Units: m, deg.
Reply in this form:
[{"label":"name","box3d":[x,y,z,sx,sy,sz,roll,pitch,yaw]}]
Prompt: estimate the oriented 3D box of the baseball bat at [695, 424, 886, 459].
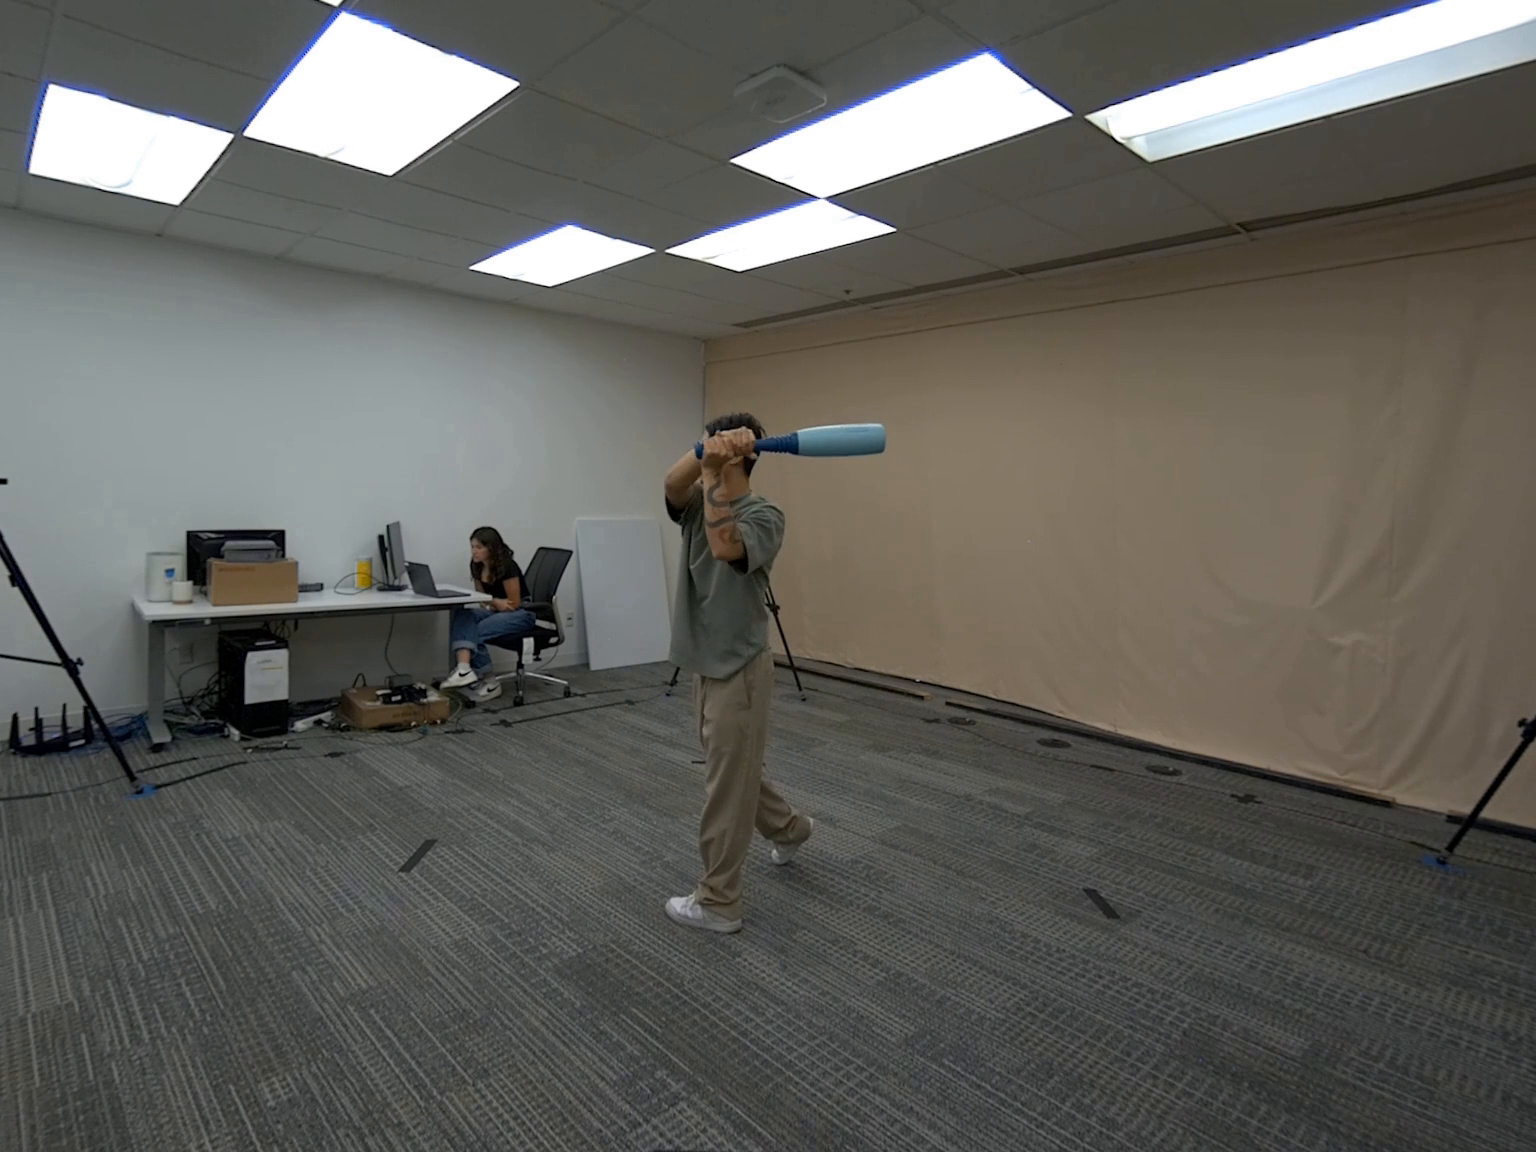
[{"label":"baseball bat","box3d":[0.053,-0.374,2.373,0.543,0.089,0.089,-5,4,1]}]
